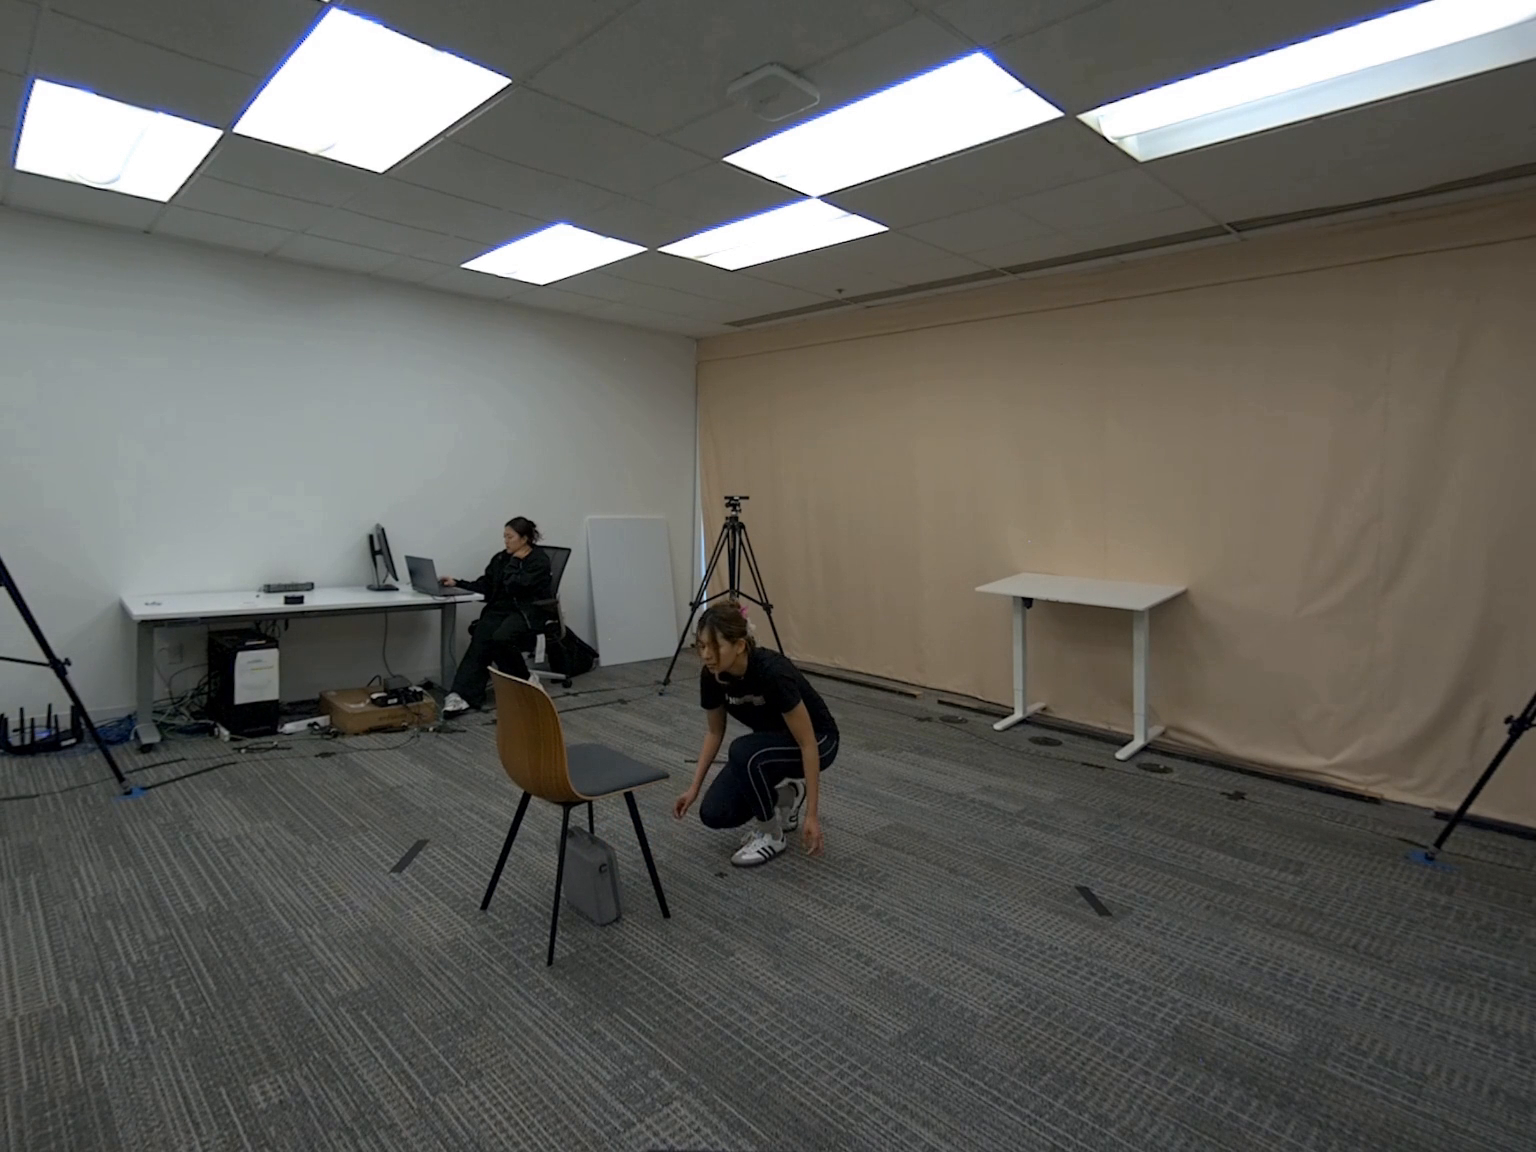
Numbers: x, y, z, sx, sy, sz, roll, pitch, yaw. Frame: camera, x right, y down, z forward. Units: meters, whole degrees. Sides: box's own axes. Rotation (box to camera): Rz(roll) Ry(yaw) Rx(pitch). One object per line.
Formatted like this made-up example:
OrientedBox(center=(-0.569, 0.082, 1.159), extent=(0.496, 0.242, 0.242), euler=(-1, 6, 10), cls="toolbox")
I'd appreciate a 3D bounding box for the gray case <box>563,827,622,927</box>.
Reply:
OrientedBox(center=(-0.598, 0.993, 2.796), extent=(0.102, 0.258, 0.263), euler=(-14, 12, -38), cls="gray case")
